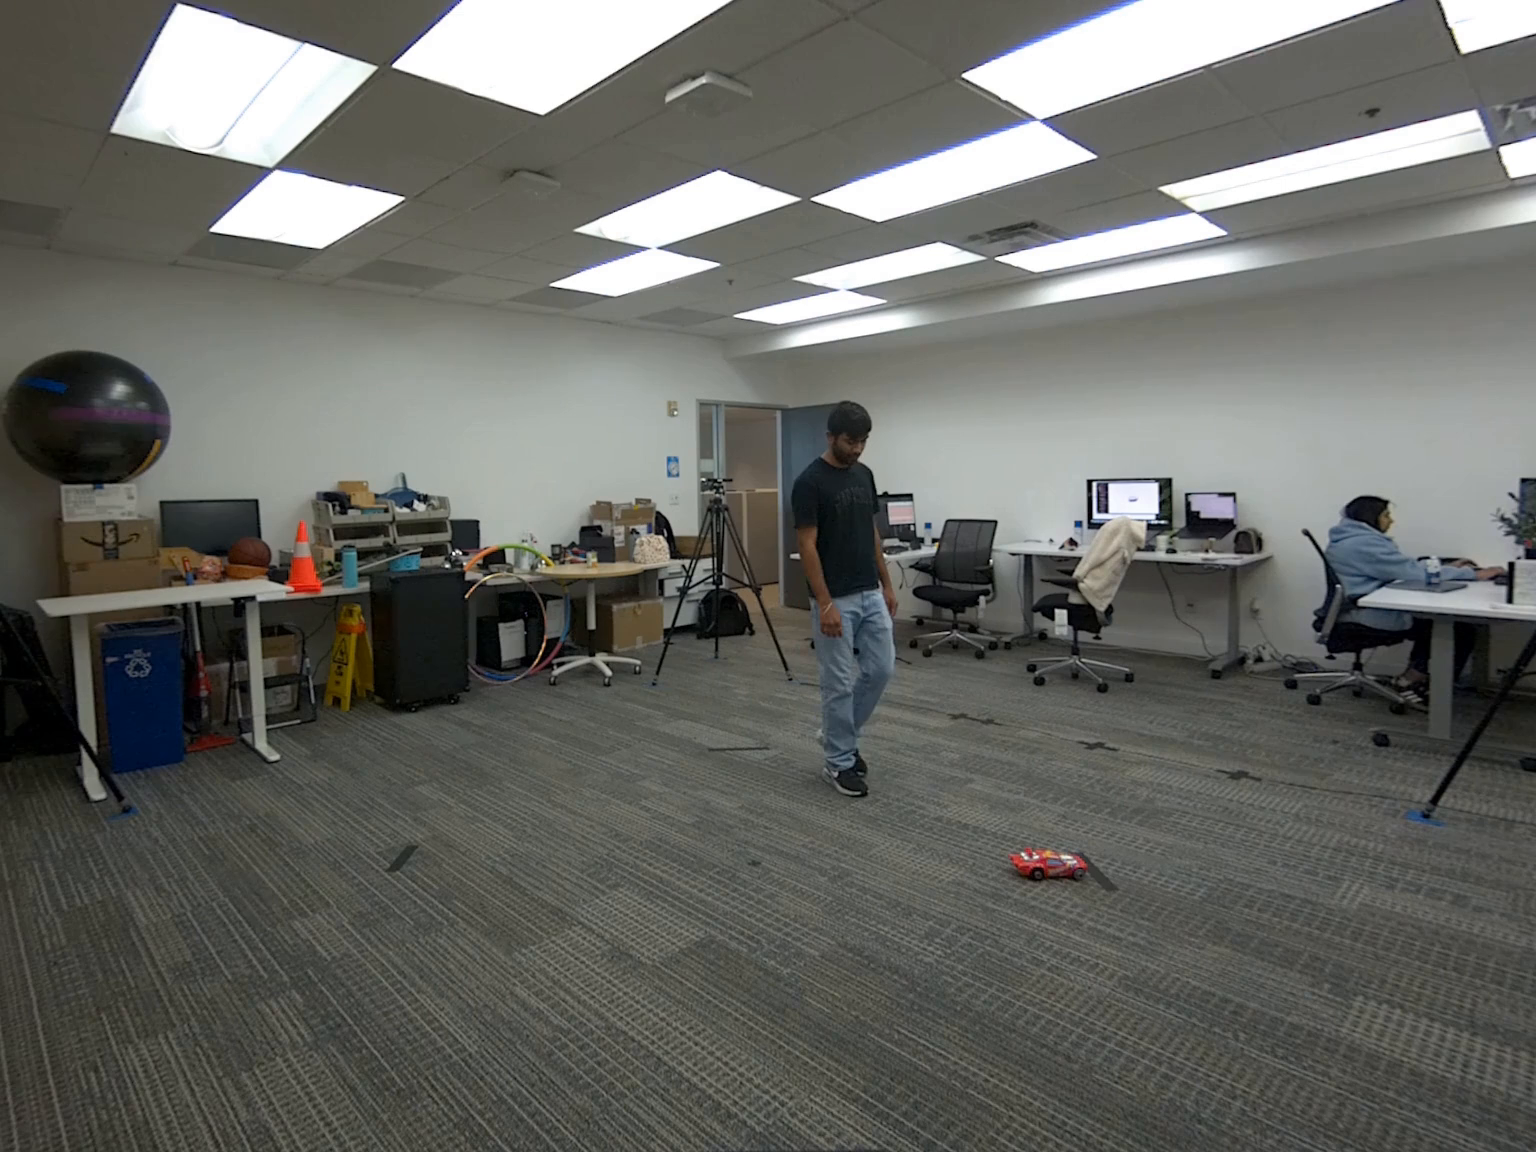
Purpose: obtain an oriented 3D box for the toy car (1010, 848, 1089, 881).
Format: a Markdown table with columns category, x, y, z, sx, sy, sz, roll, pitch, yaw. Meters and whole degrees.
| category | x | y | z | sx | sy | sz | roll | pitch | yaw |
| --- | --- | --- | --- | --- | --- | --- | --- | --- | --- |
| toy car | 0.981 | 1.014 | 2.986 | 0.255 | 0.083 | 0.131 | 9 | 6 | 1 |
